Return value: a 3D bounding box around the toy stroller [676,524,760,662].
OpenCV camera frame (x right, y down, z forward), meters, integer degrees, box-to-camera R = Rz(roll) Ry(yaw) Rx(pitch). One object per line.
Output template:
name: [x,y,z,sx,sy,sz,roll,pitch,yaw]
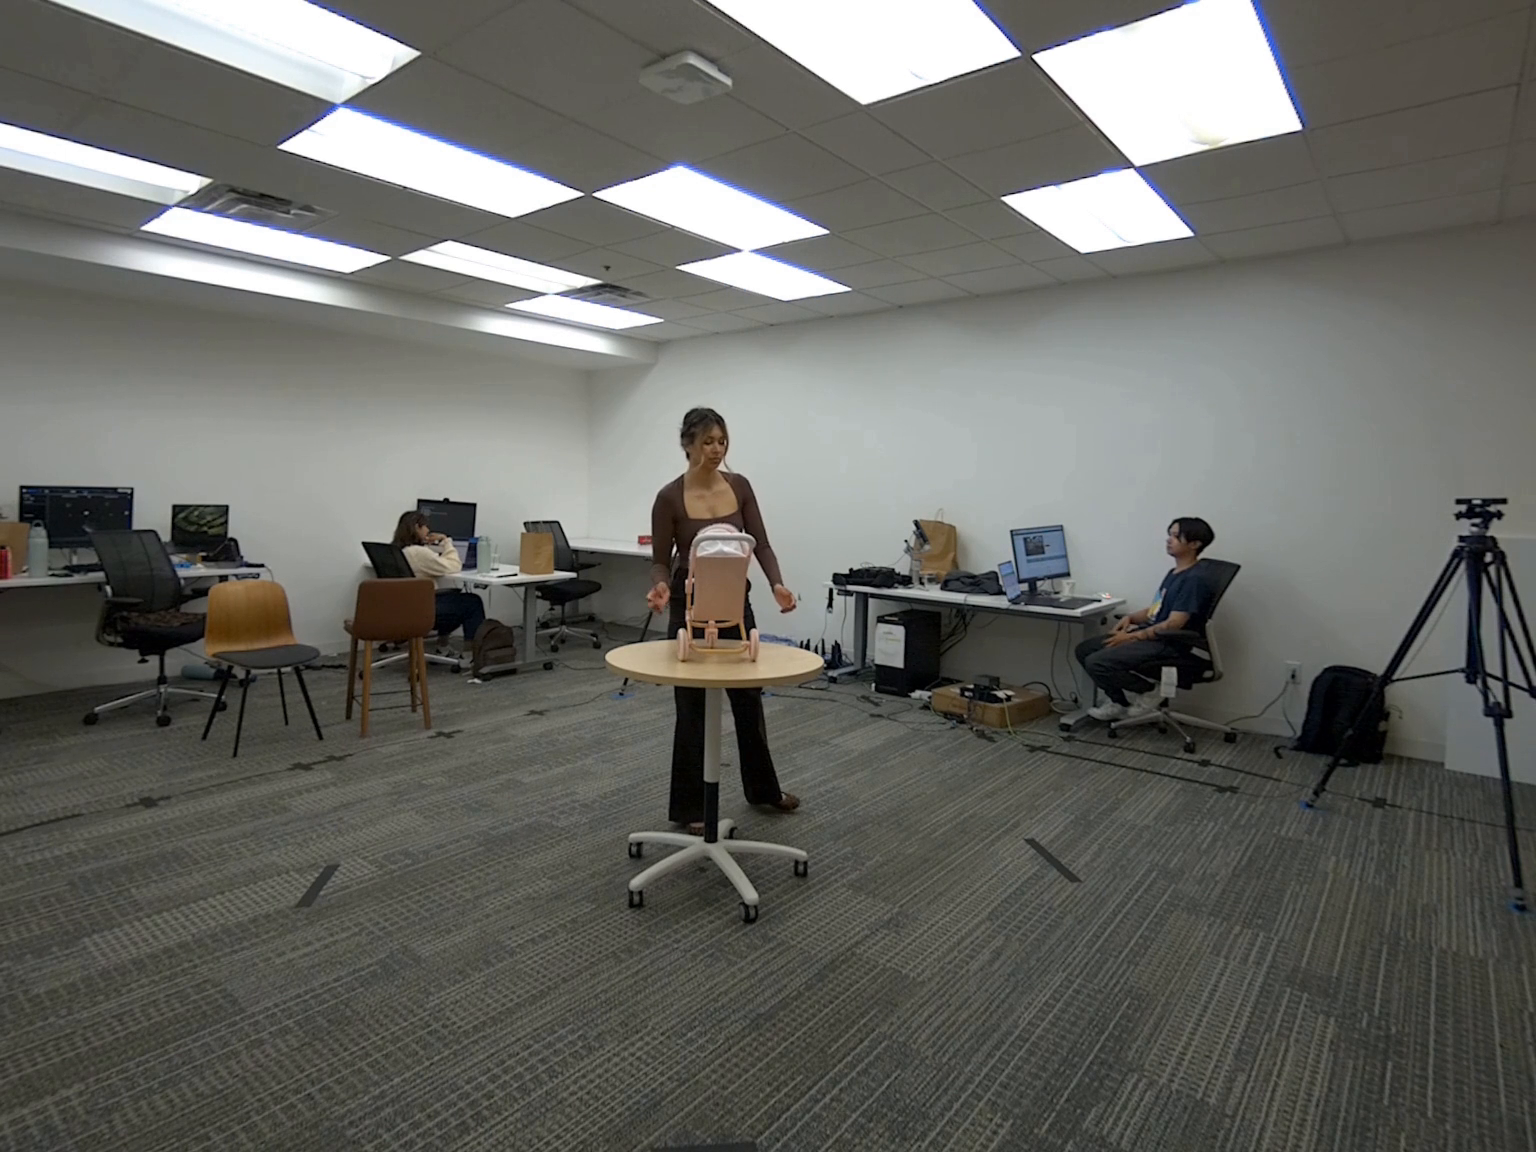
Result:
toy stroller: [-0.188,0.056,2.989,0.280,0.527,0.348,1,18,-5]
